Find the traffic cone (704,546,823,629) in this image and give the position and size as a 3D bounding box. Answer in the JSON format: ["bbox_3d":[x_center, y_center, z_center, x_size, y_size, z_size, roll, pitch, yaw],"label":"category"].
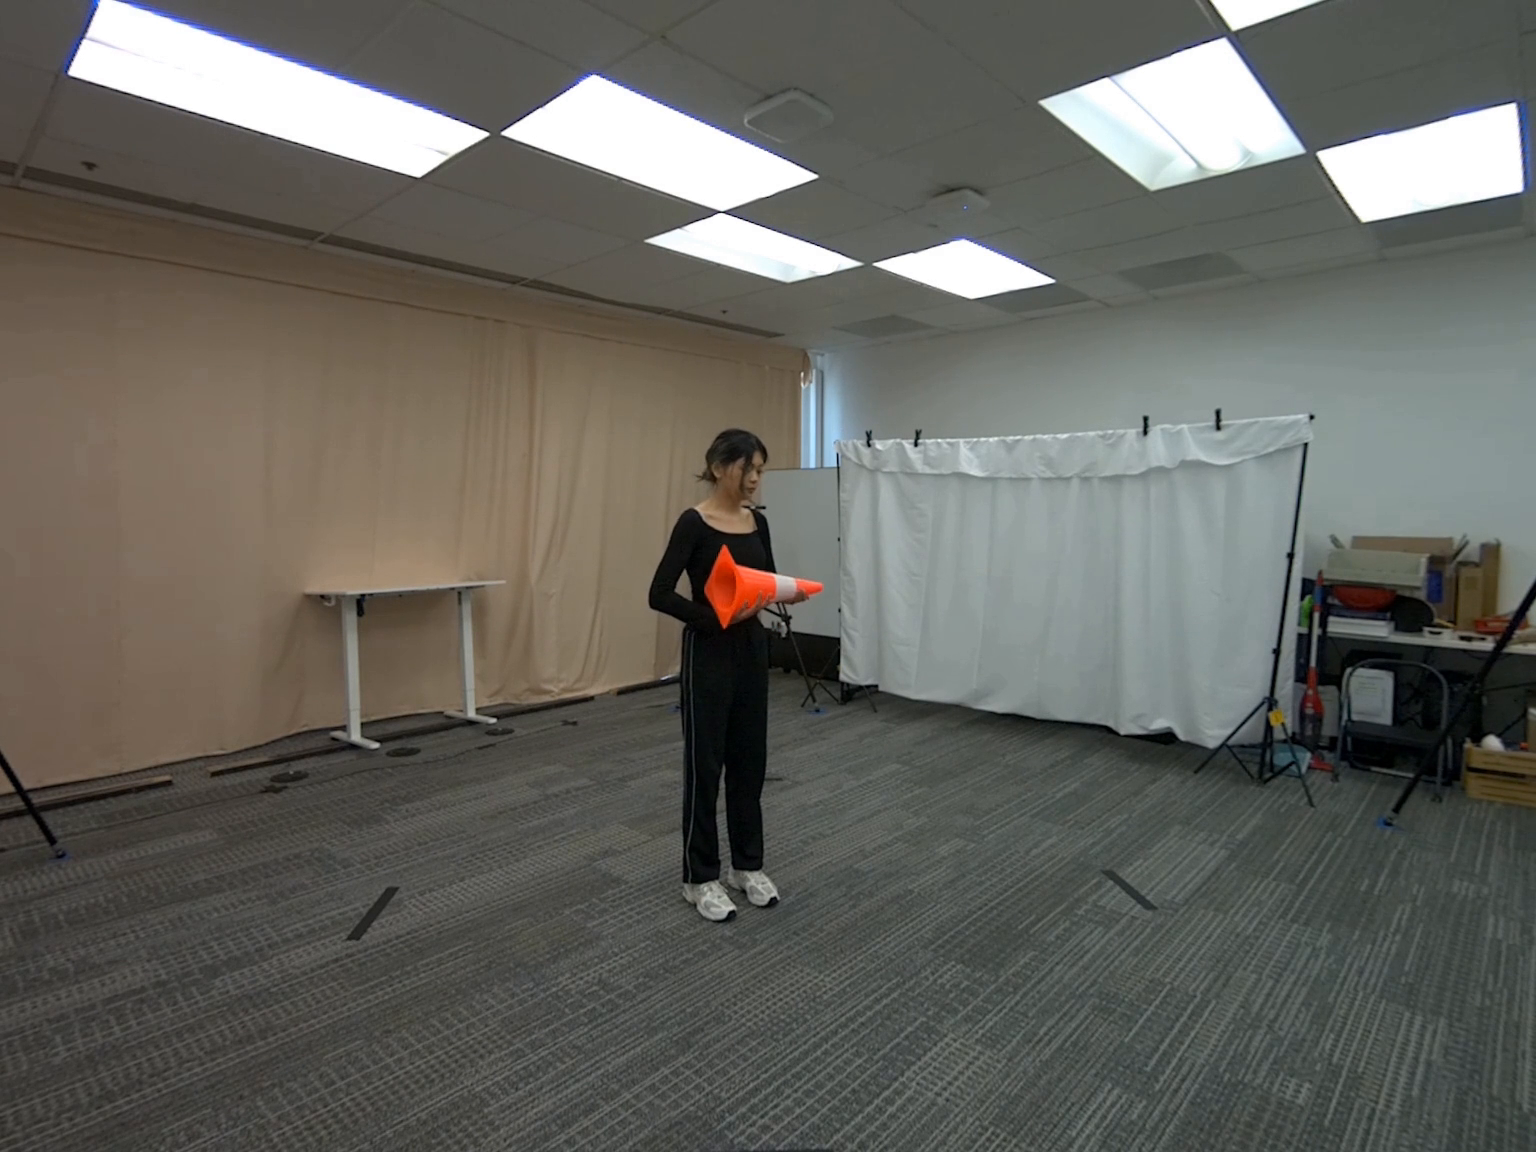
[{"bbox_3d":[0.034,0.039,2.790,0.375,0.202,0.211,2,39,-23],"label":"traffic cone"}]
